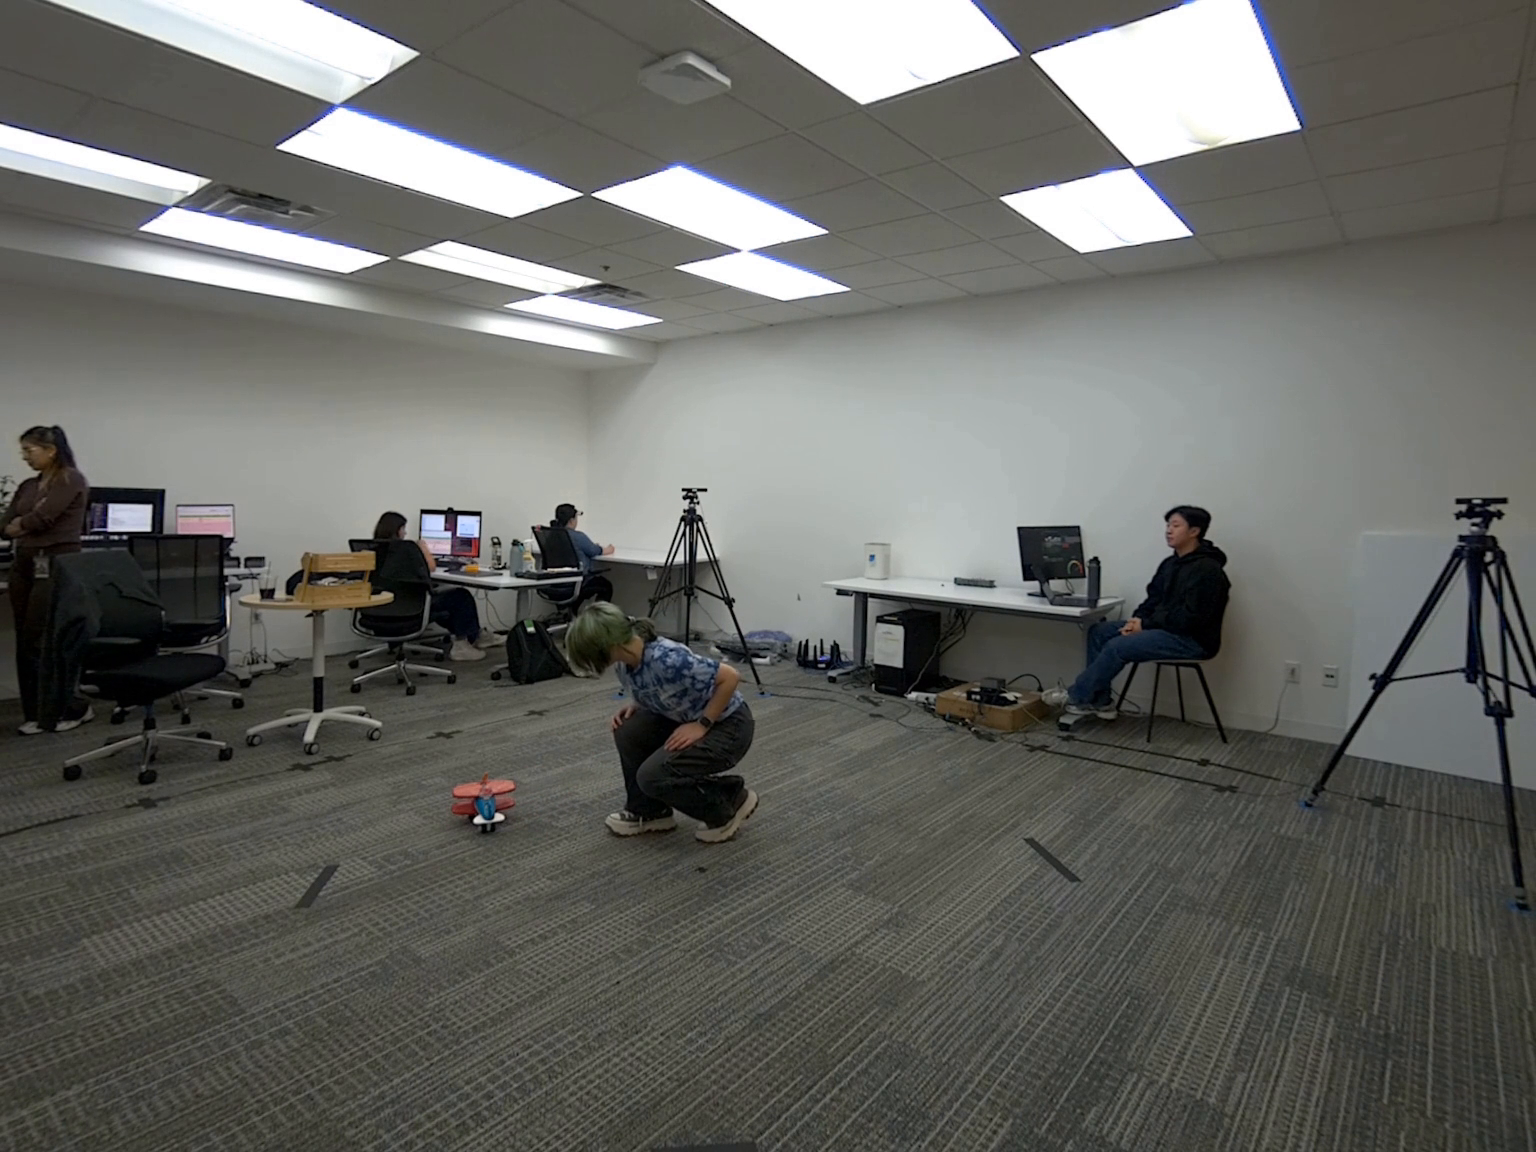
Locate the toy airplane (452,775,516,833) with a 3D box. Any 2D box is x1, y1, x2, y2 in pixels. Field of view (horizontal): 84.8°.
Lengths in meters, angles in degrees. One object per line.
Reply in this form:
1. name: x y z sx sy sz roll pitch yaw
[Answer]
1. toy airplane: -1.168 0.946 3.510 0.268 0.156 0.244 3 5 38
